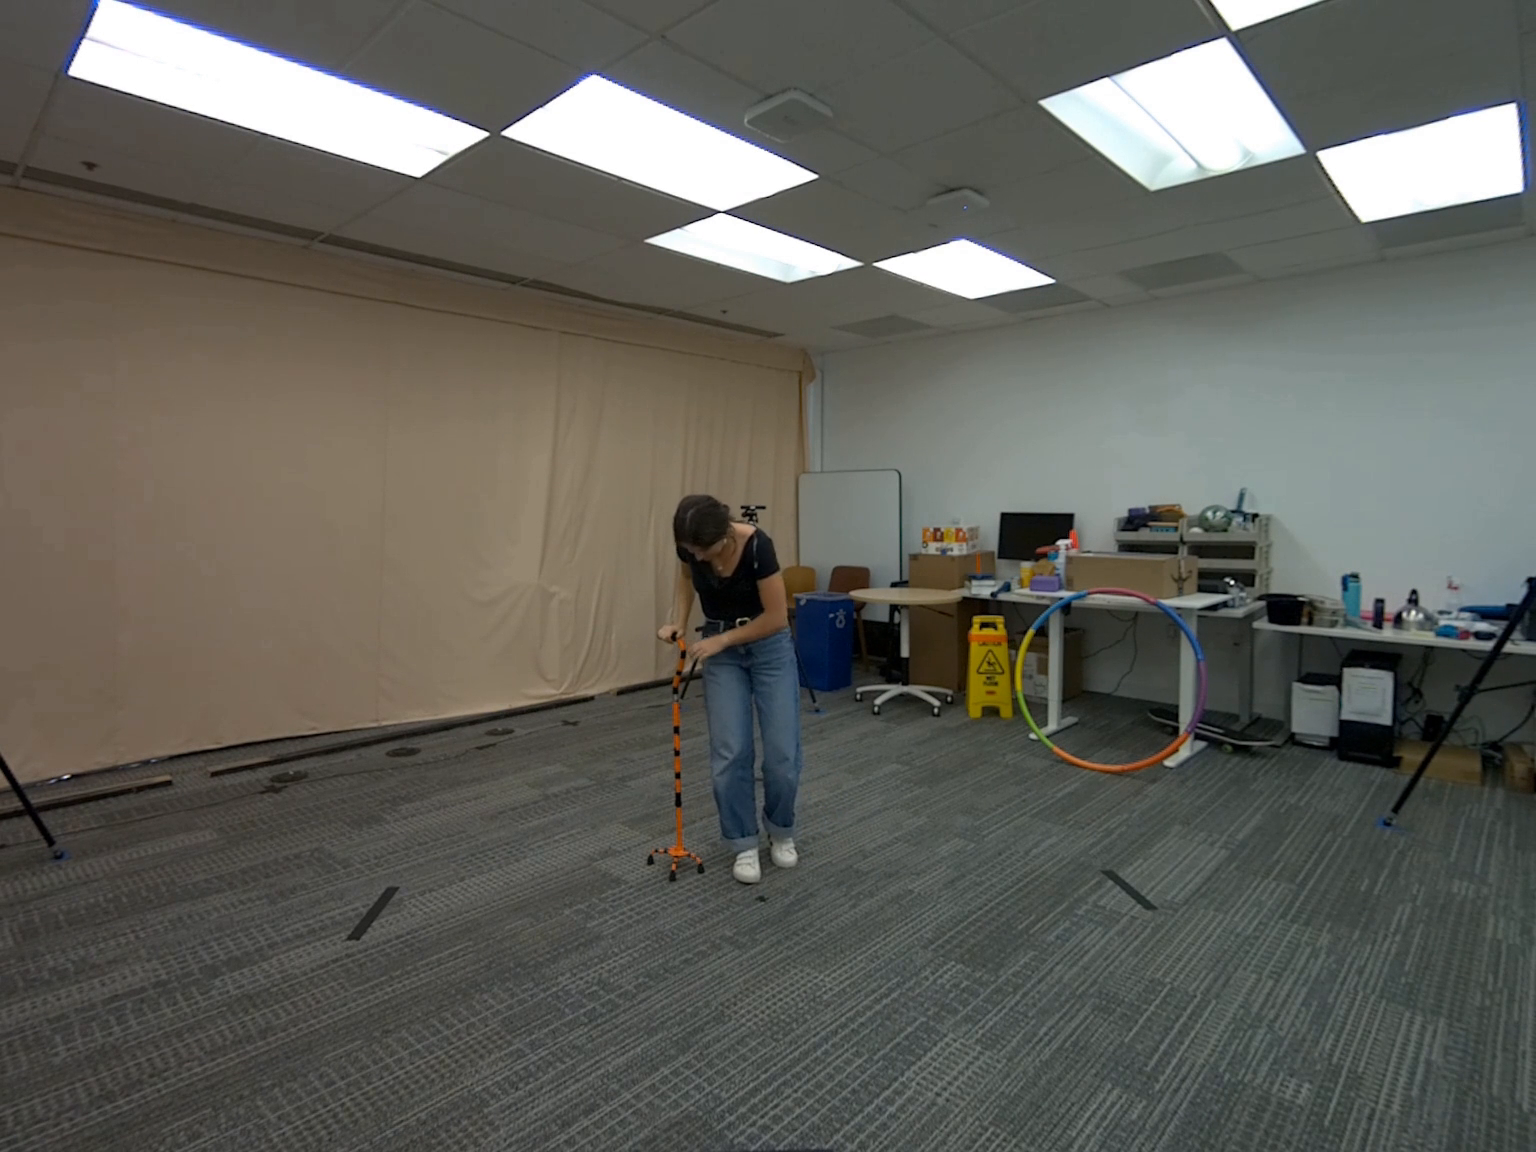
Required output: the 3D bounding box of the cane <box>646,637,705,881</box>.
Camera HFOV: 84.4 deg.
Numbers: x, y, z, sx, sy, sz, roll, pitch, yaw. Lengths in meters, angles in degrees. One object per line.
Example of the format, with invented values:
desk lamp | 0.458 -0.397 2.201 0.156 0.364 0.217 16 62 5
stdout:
cane | -0.361 0.676 3.219 0.147 0.906 0.213 -3 4 -35
